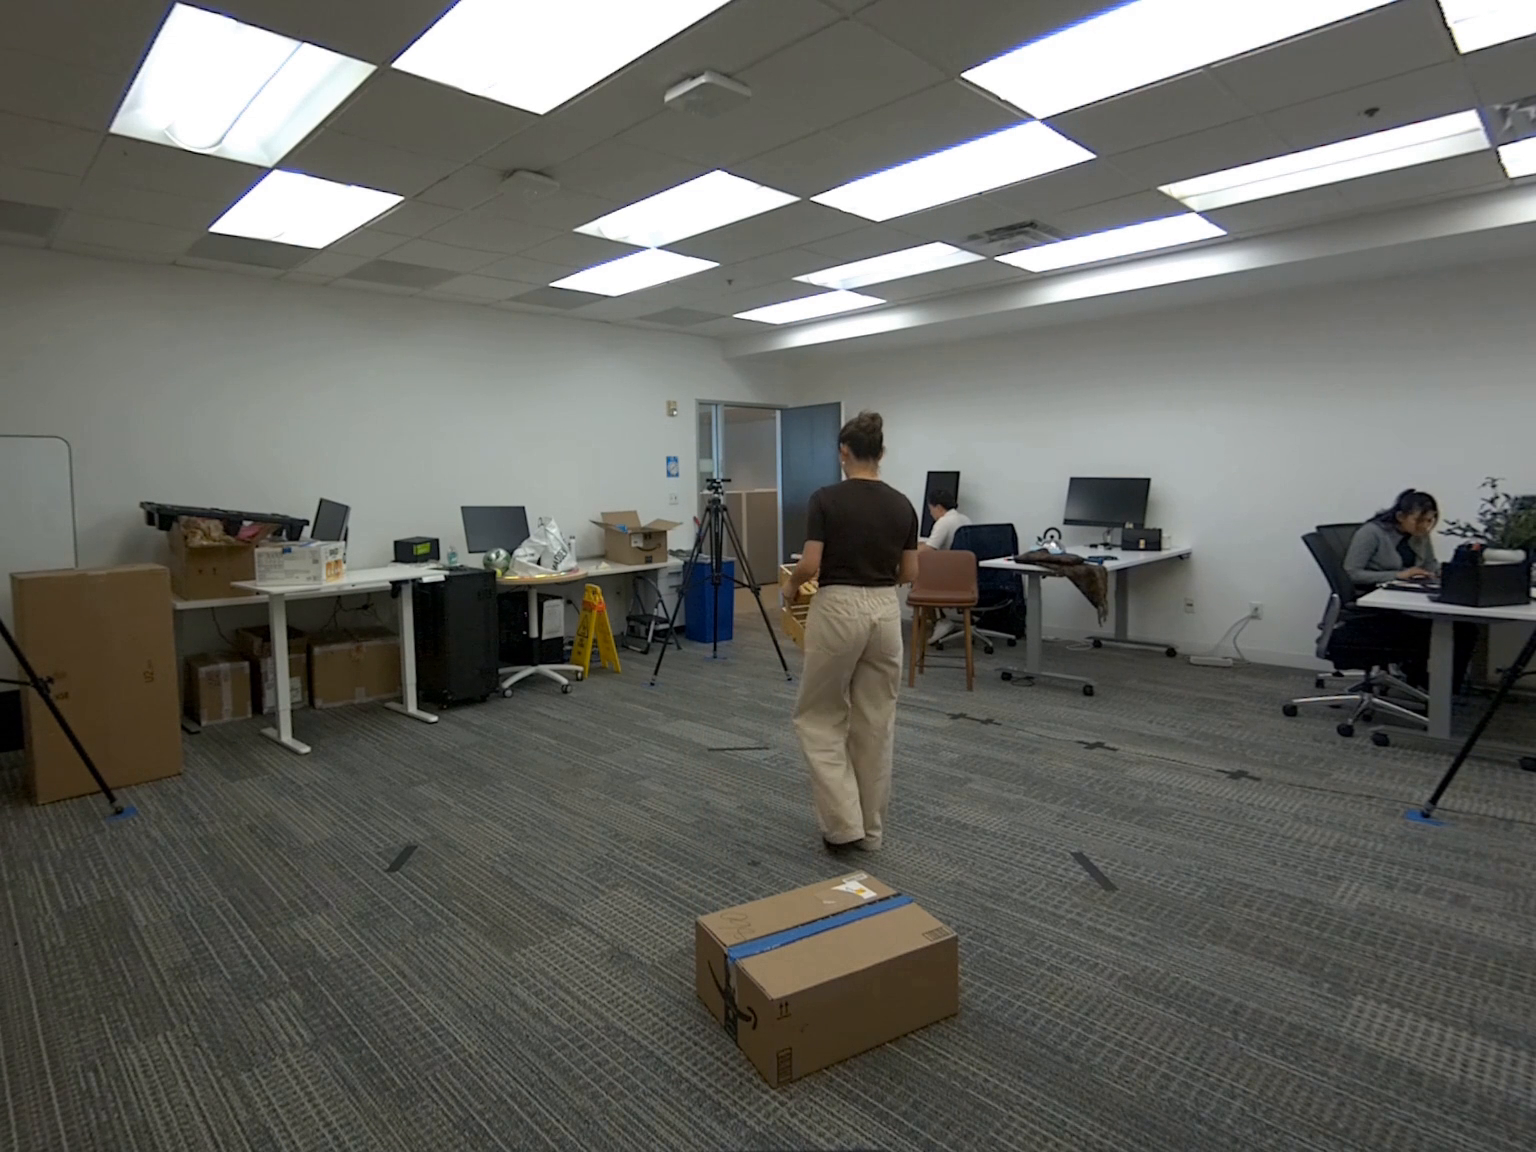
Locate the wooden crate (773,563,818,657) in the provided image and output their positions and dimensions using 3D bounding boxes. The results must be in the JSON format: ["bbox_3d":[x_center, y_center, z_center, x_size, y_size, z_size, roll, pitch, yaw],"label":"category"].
[{"bbox_3d":[0.240,0.120,3.456,0.318,0.269,0.312,-4,20,-21],"label":"wooden crate"}]
